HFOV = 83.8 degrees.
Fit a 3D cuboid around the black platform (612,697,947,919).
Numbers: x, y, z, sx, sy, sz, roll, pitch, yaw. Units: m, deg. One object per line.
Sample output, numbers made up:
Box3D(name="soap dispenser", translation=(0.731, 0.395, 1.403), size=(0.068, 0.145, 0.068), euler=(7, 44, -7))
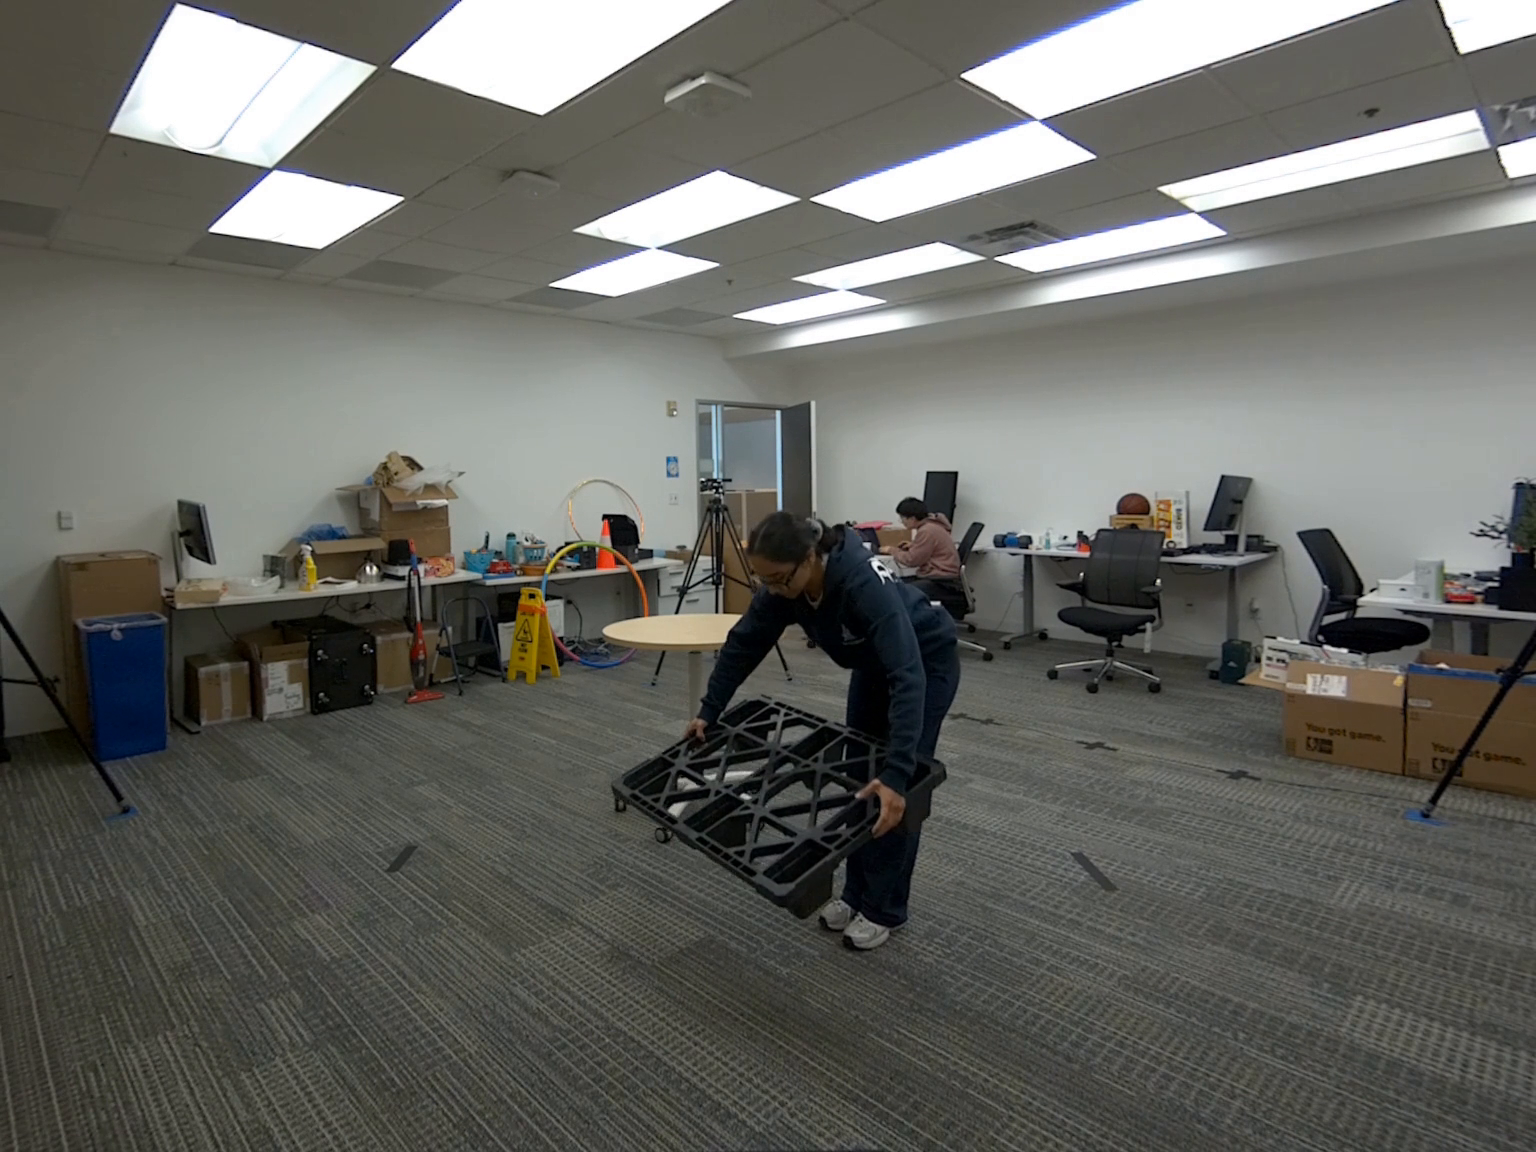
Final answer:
Box3D(name="black platform", translation=(0.017, 0.616, 2.386), size=(0.597, 0.140, 0.832), euler=(-26, 24, -33))
